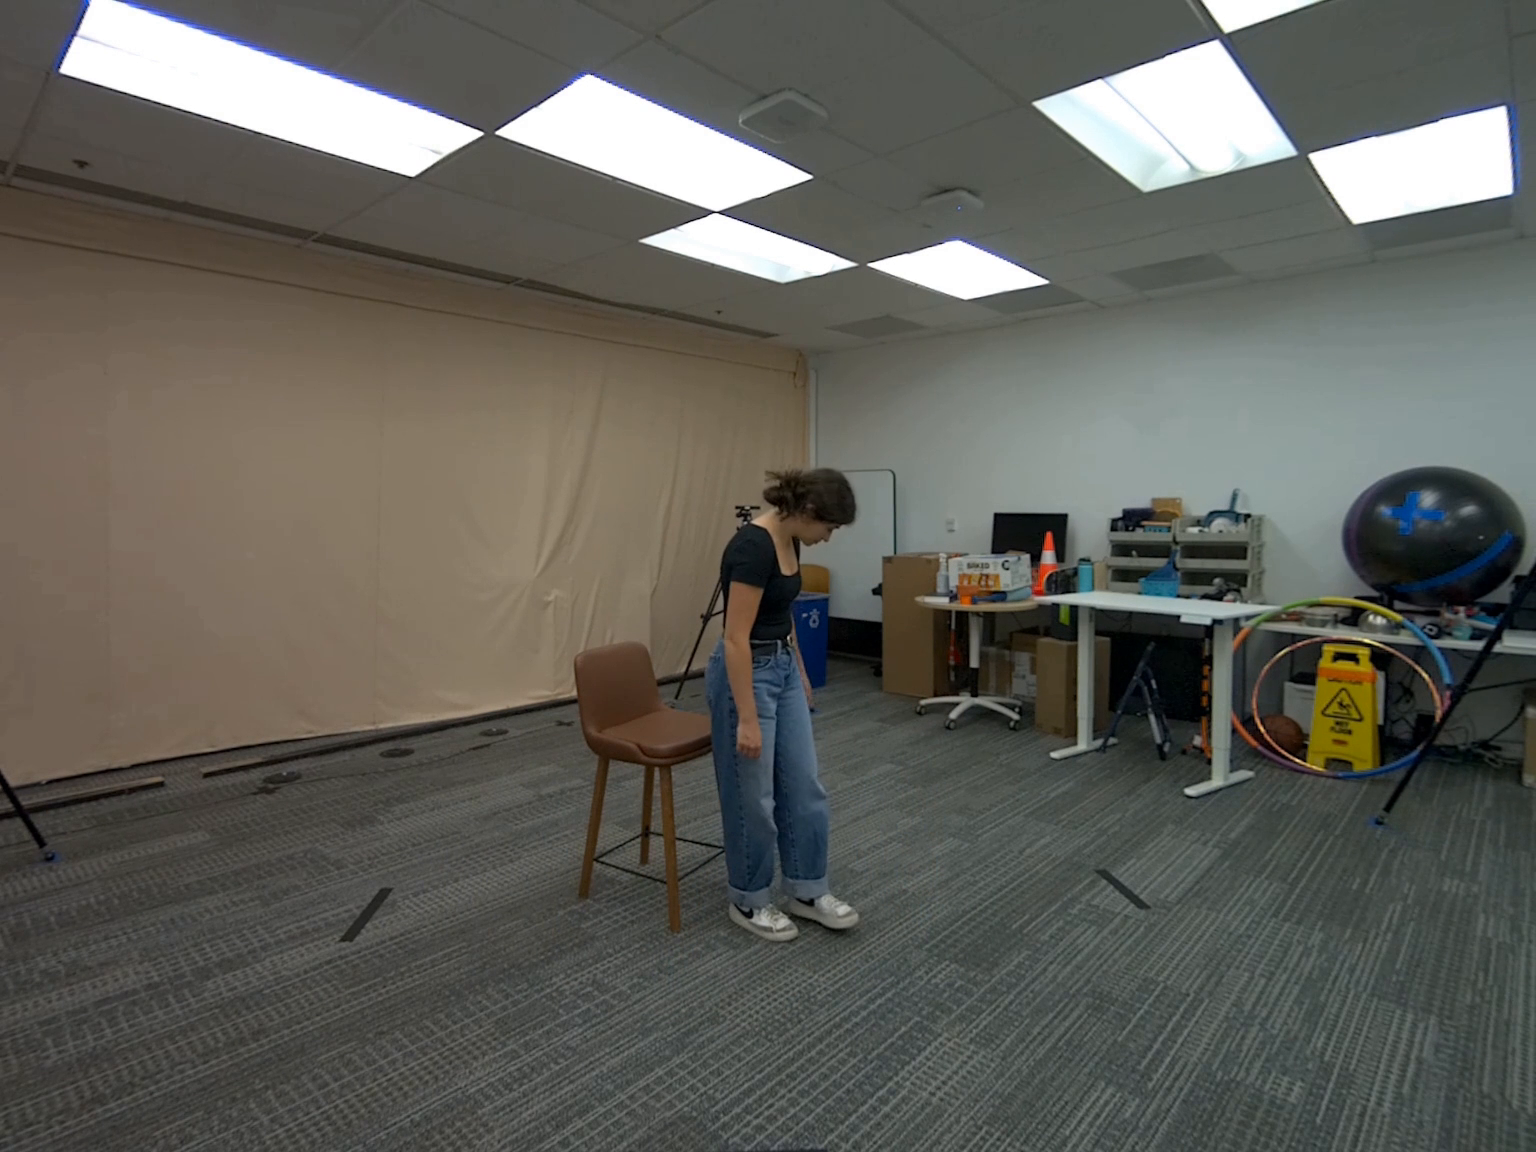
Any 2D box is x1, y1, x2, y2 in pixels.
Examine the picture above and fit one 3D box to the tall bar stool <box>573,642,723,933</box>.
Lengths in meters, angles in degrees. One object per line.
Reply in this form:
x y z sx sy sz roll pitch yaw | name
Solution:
-0.399 0.710 3.018 0.481 0.888 0.444 -1 2 33 | tall bar stool
